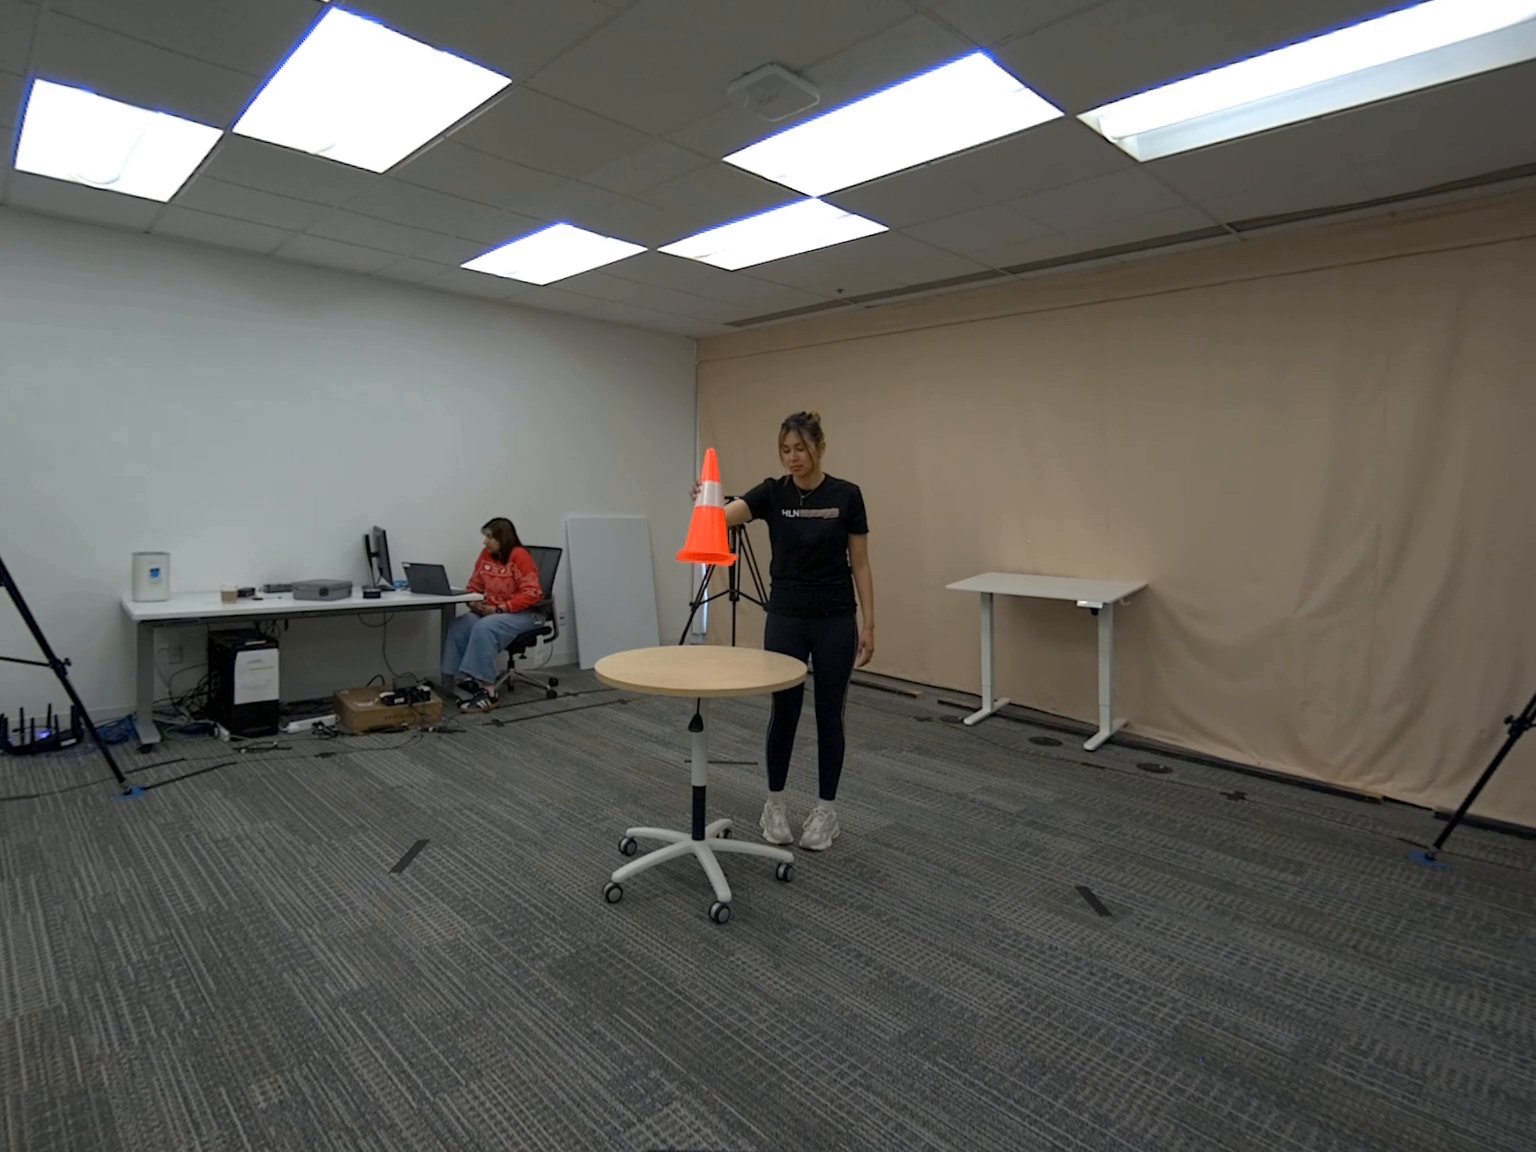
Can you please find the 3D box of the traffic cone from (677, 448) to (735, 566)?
[{"bbox_3d":[-0.210,-0.238,2.856,0.200,0.387,0.206,7,-15,-17],"label":"traffic cone"}]
